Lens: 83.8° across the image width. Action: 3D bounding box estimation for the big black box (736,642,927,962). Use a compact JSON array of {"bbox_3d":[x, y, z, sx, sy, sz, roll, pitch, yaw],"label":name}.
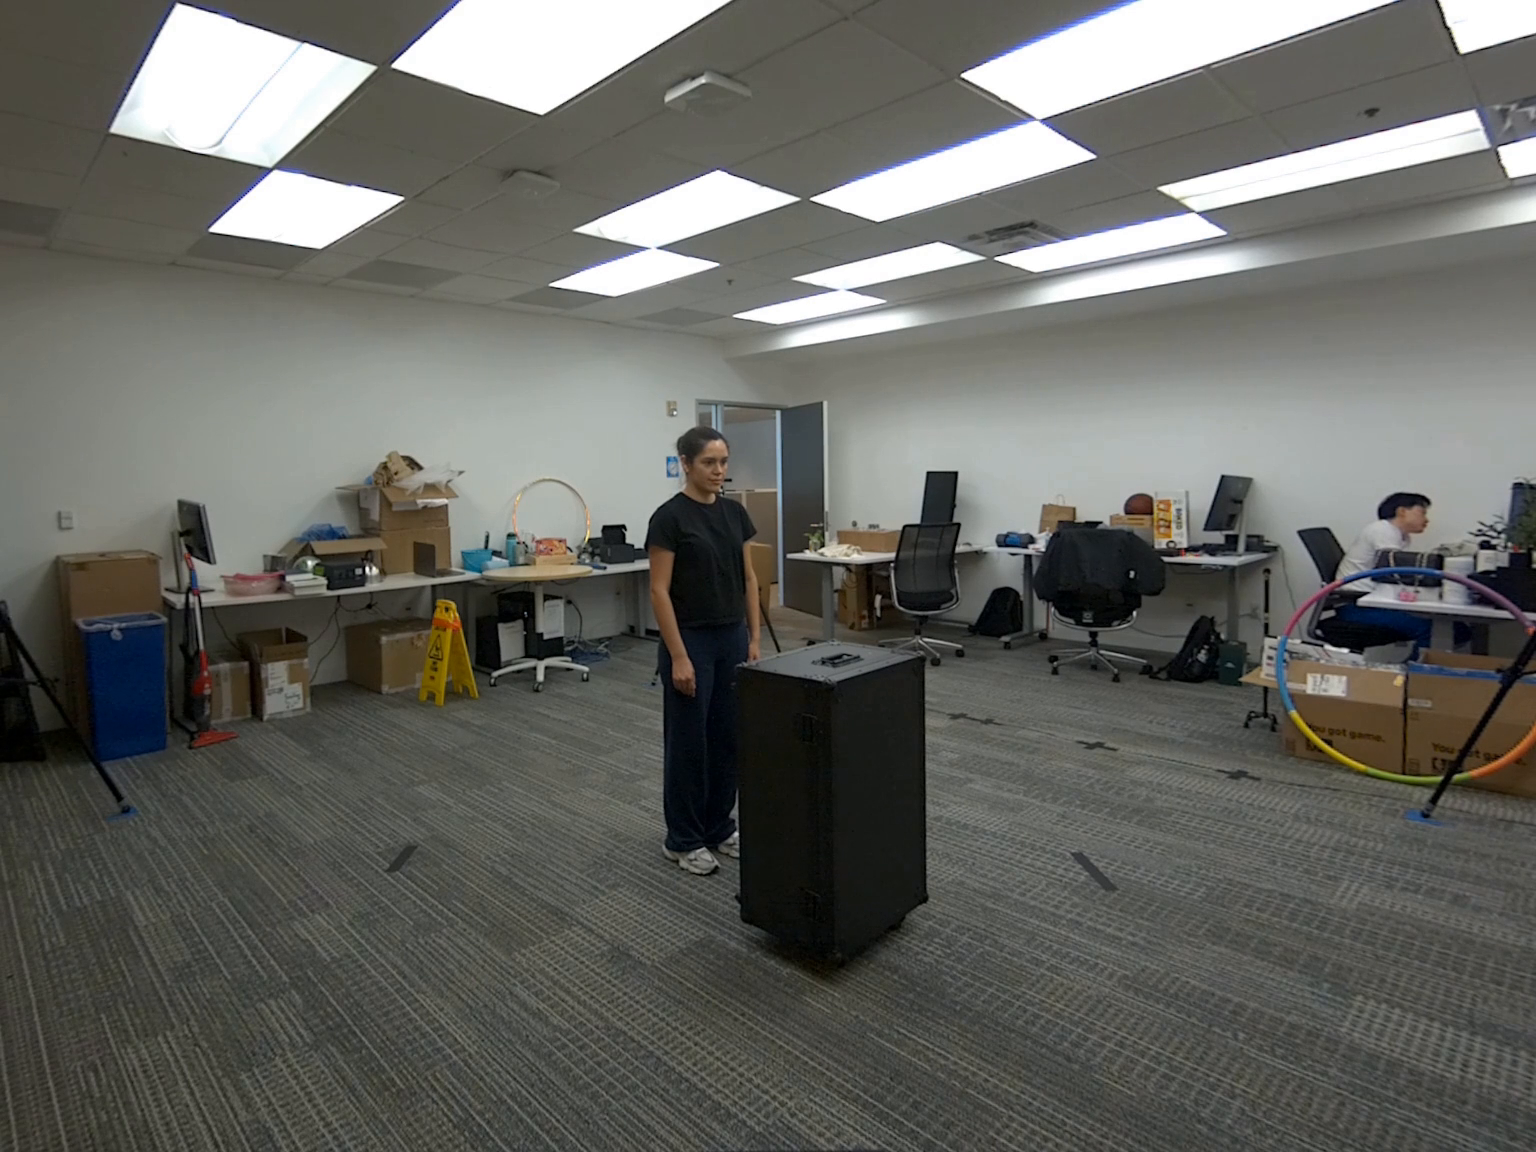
[{"bbox_3d":[0.192,0.670,2.612,0.408,0.859,0.508,2,5,43],"label":"big black box"}]
